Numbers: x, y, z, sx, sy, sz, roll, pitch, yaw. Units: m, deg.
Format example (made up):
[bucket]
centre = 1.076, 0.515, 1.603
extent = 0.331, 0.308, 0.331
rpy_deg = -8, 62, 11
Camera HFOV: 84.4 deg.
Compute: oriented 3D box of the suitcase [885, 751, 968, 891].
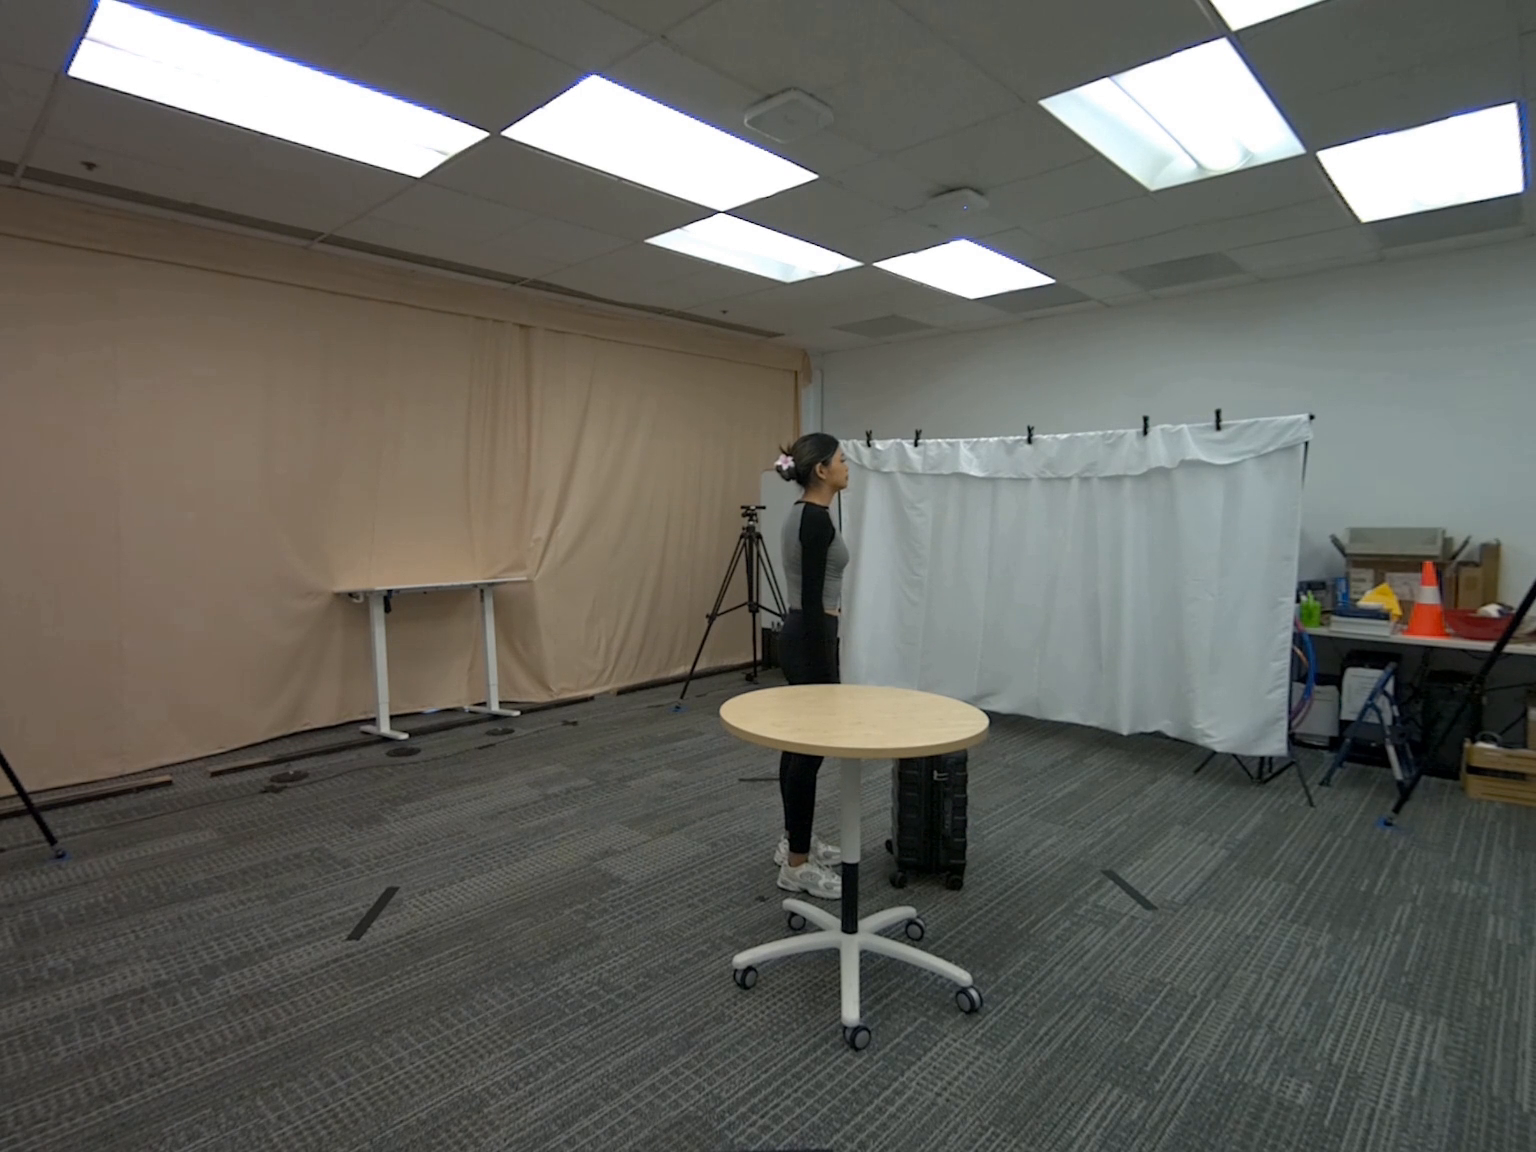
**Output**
[suitcase]
centre = 0.610, 0.850, 3.196
extent = 0.250, 0.548, 0.373
rpy_deg = 2, 4, 5
